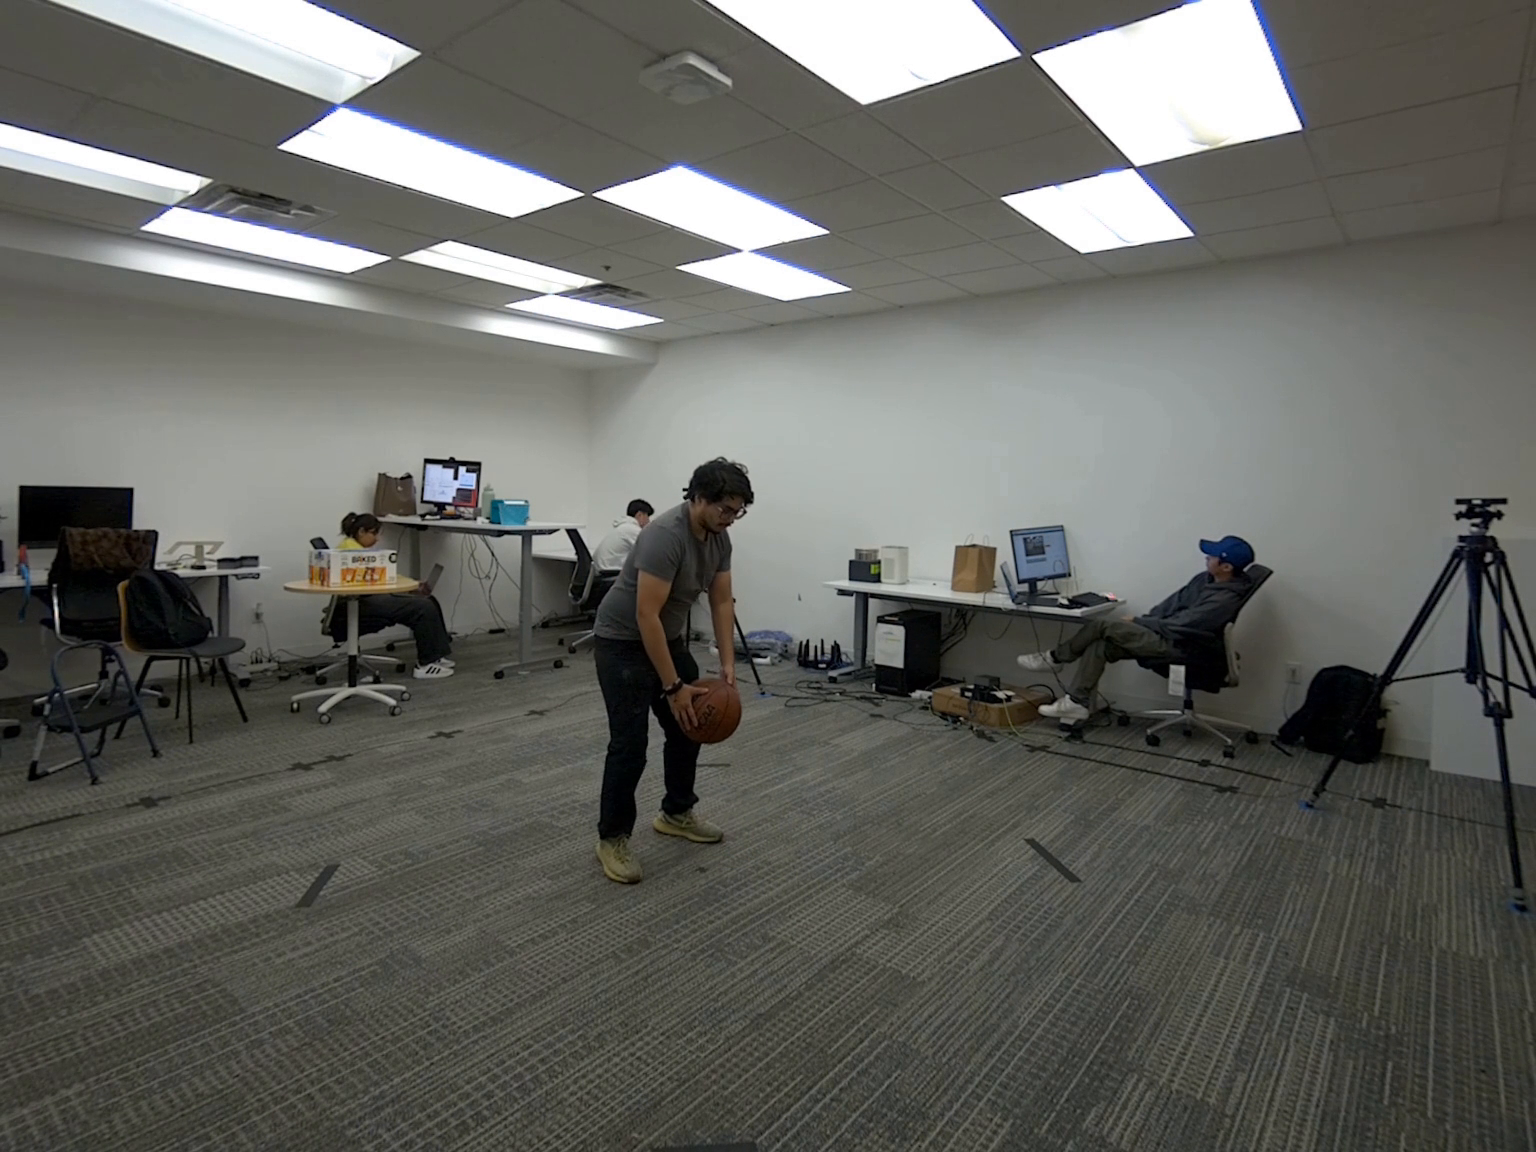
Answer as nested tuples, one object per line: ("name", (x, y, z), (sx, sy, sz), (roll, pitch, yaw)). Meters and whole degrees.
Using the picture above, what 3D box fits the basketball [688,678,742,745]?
("basketball", (-0.222, 0.490, 3.094), (0.235, 0.235, 0.237), (1, 4, -2))
